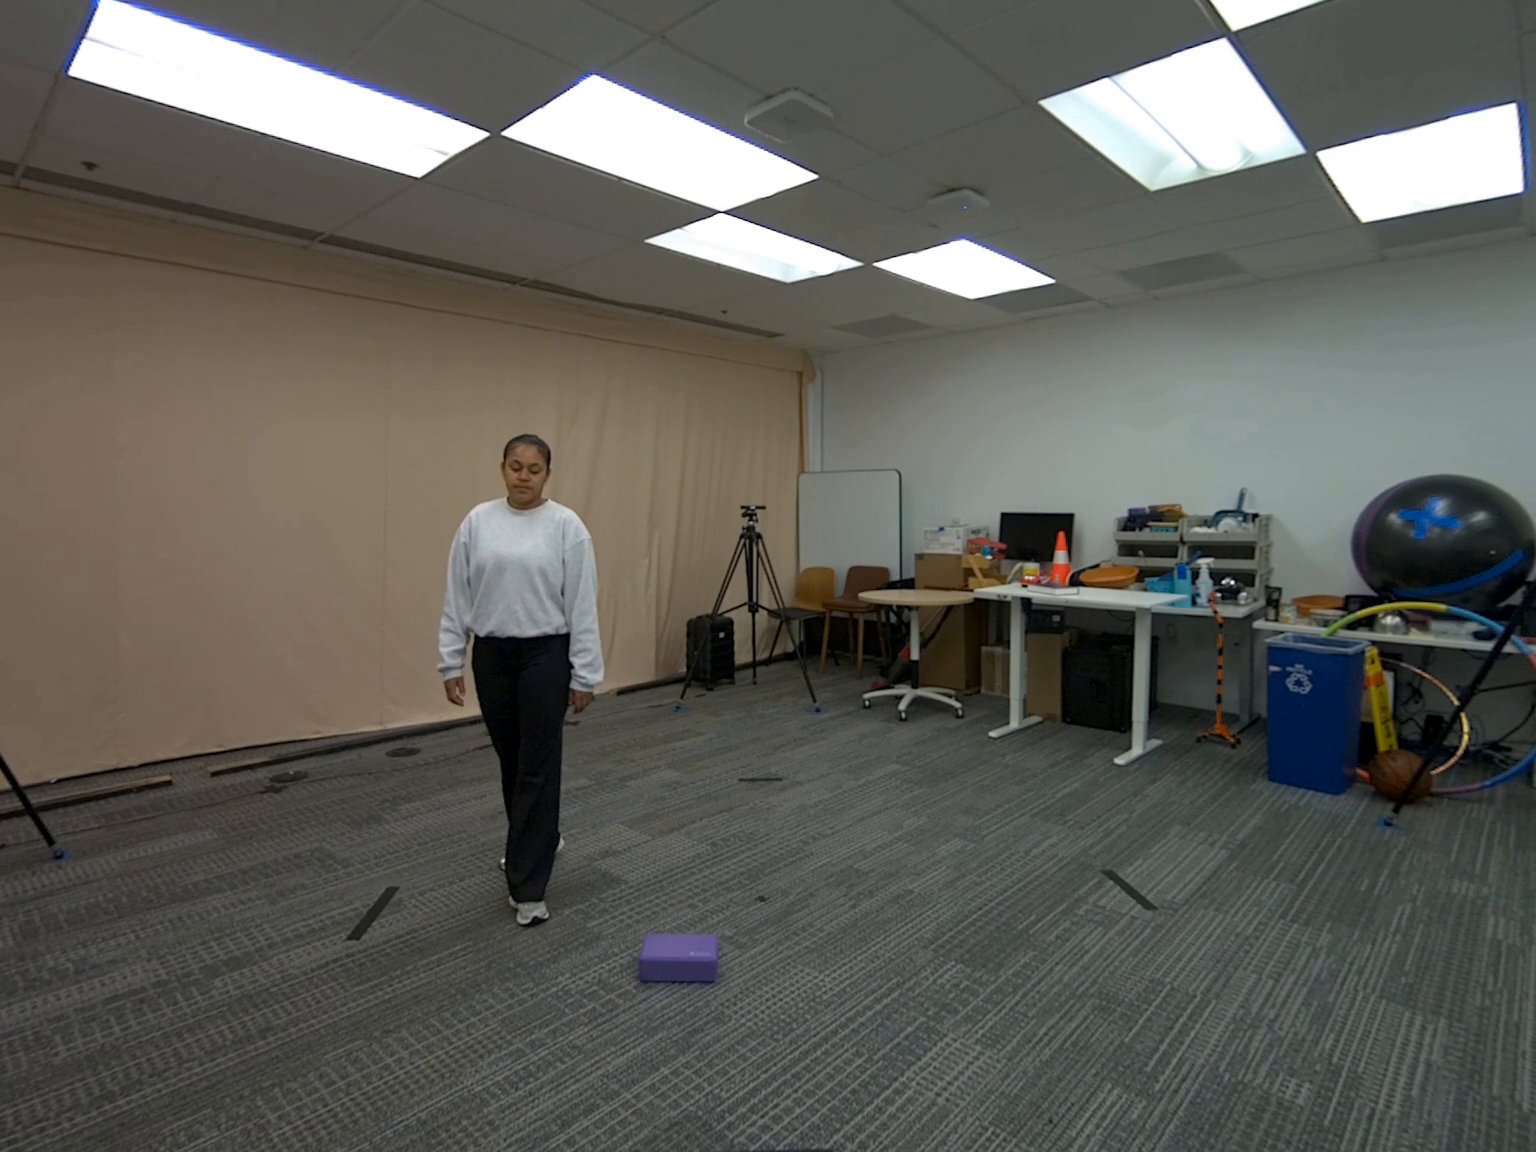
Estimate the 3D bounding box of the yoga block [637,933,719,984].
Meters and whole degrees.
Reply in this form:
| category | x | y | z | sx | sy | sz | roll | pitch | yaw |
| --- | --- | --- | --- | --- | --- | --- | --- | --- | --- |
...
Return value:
| category | x | y | z | sx | sy | sz | roll | pitch | yaw |
| --- | --- | --- | --- | --- | --- | --- | --- | --- | --- |
| yoga block | -0.264 | 1.144 | 2.521 | 0.230 | 0.076 | 0.149 | 0 | 2 | 1 |
